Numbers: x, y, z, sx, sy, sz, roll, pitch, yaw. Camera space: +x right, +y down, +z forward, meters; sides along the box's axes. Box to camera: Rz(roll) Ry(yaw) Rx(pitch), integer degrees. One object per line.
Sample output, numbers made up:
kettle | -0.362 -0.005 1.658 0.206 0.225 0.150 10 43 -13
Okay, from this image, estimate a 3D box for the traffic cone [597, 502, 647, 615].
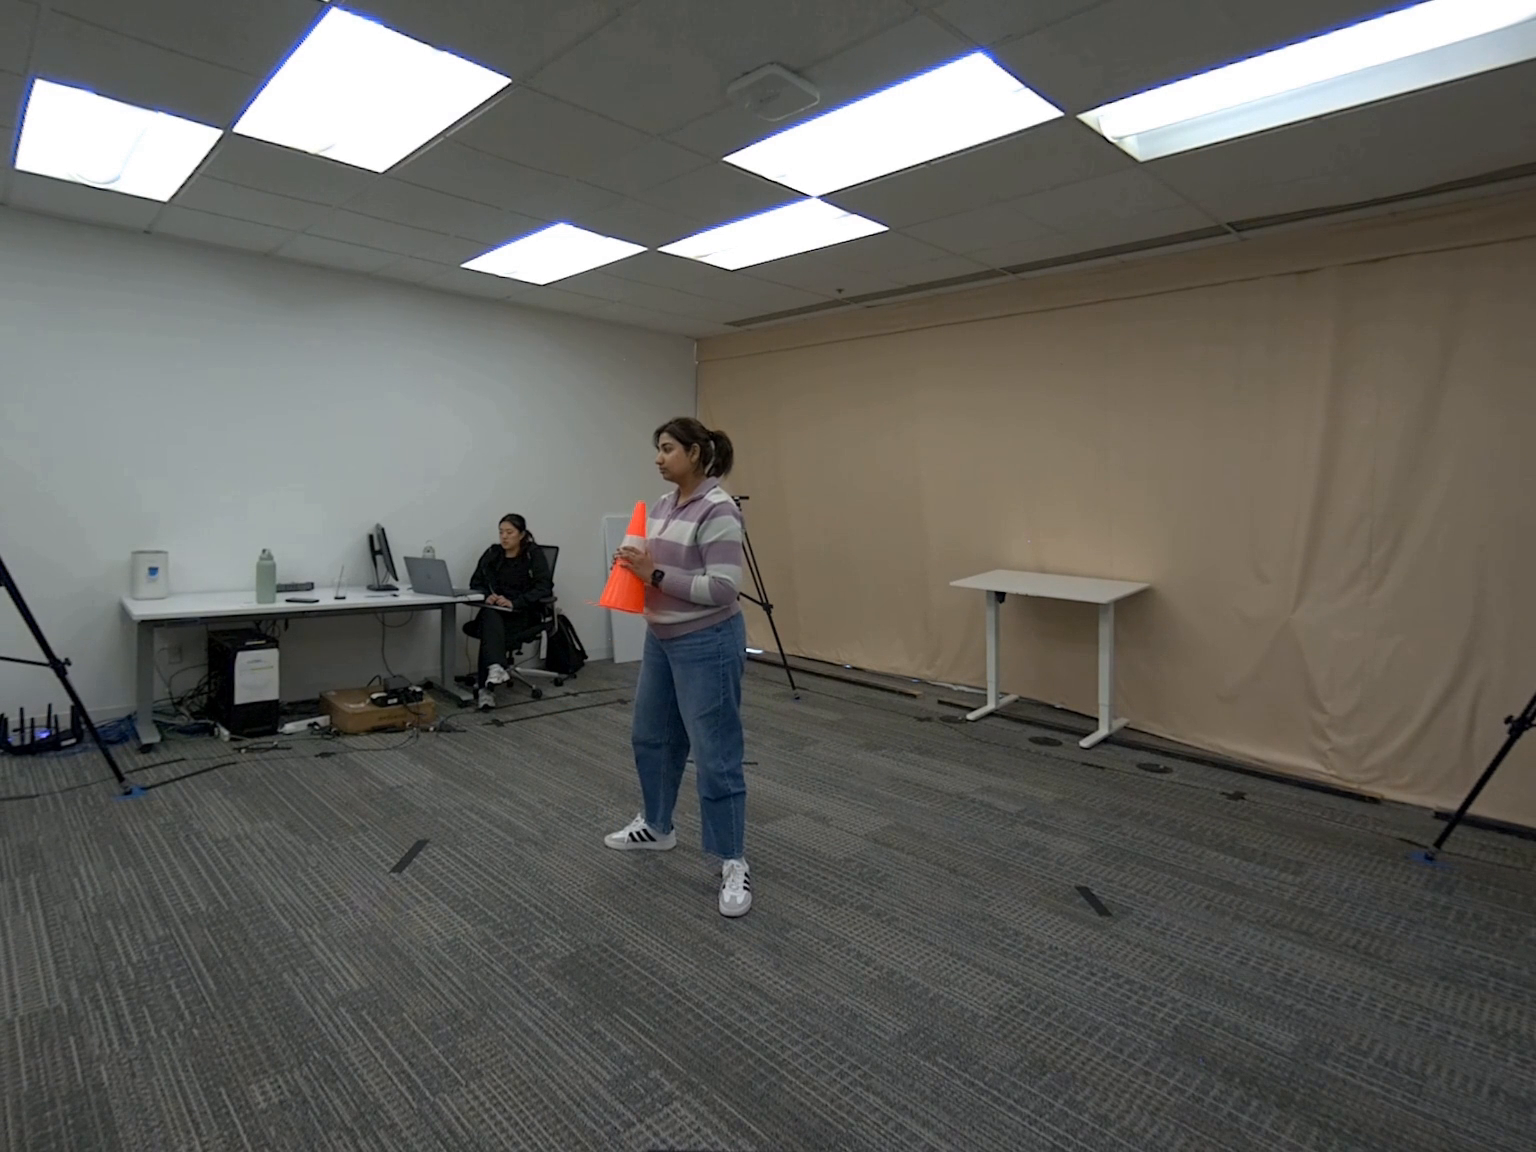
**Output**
traffic cone | -0.484 -0.069 2.931 0.210 0.384 0.197 7 -4 45
